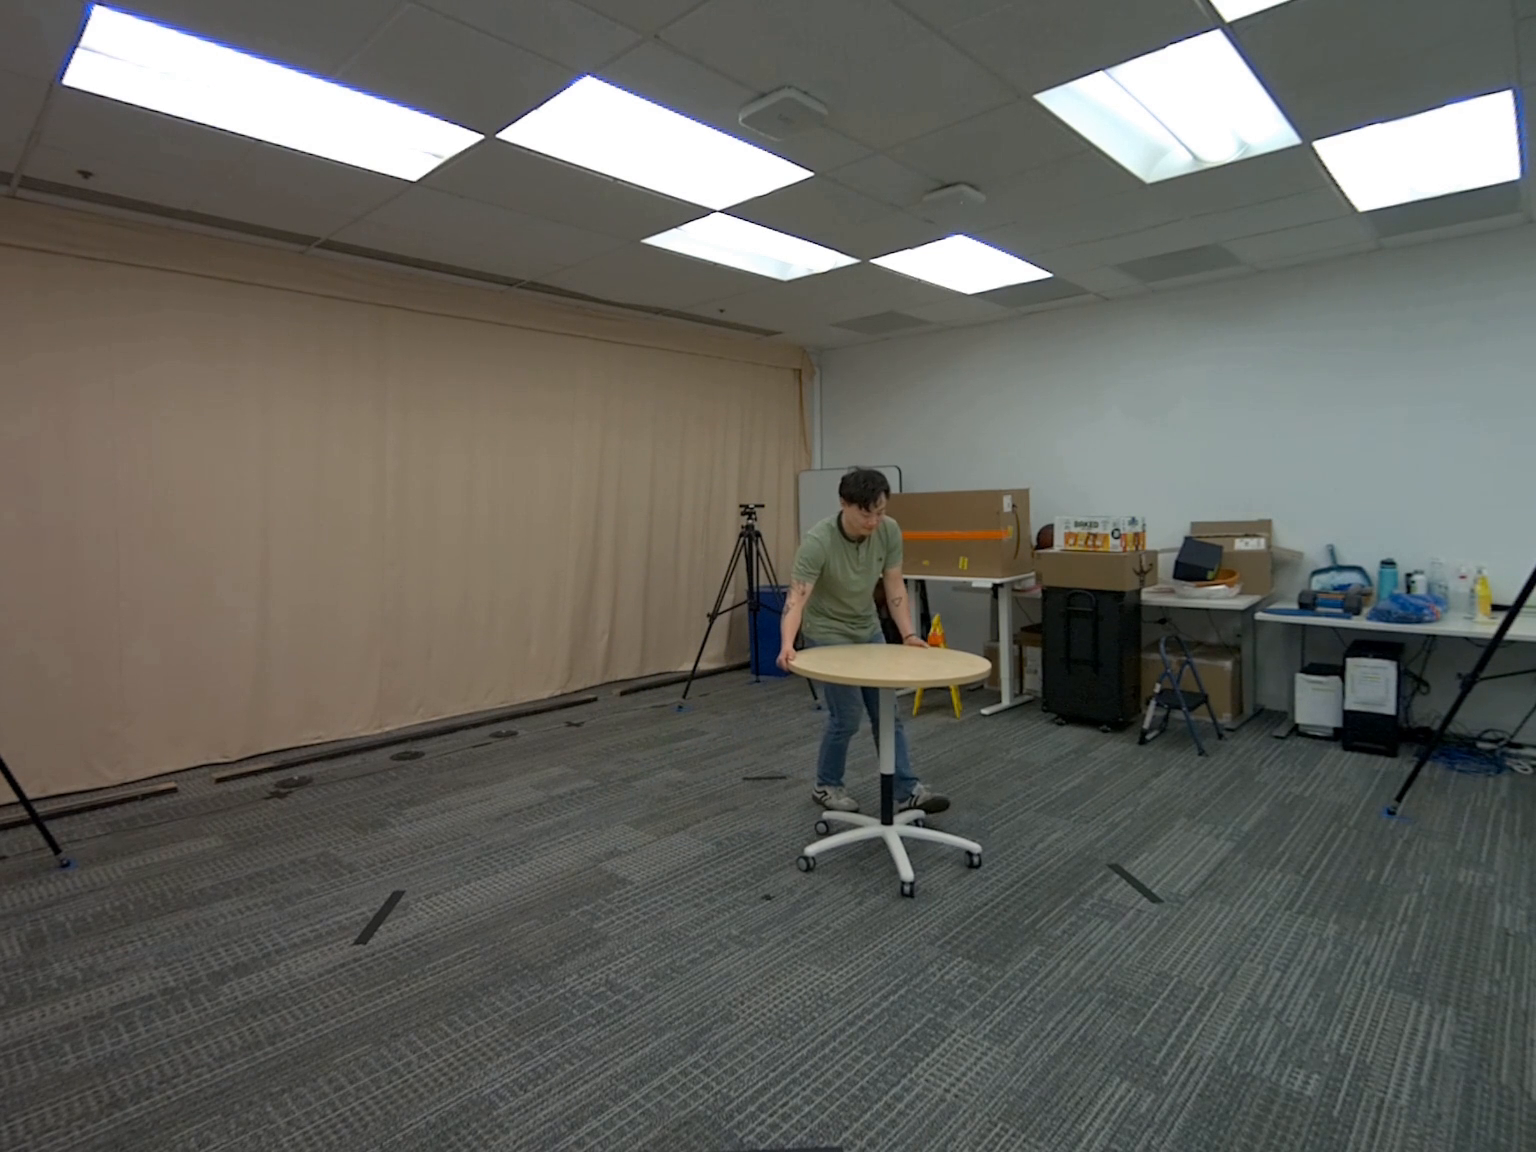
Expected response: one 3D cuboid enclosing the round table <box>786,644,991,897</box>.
[{"bbox_3d":[0.454,0.714,3.272,0.763,0.792,0.766,0,3,-2],"label":"round table"}]
